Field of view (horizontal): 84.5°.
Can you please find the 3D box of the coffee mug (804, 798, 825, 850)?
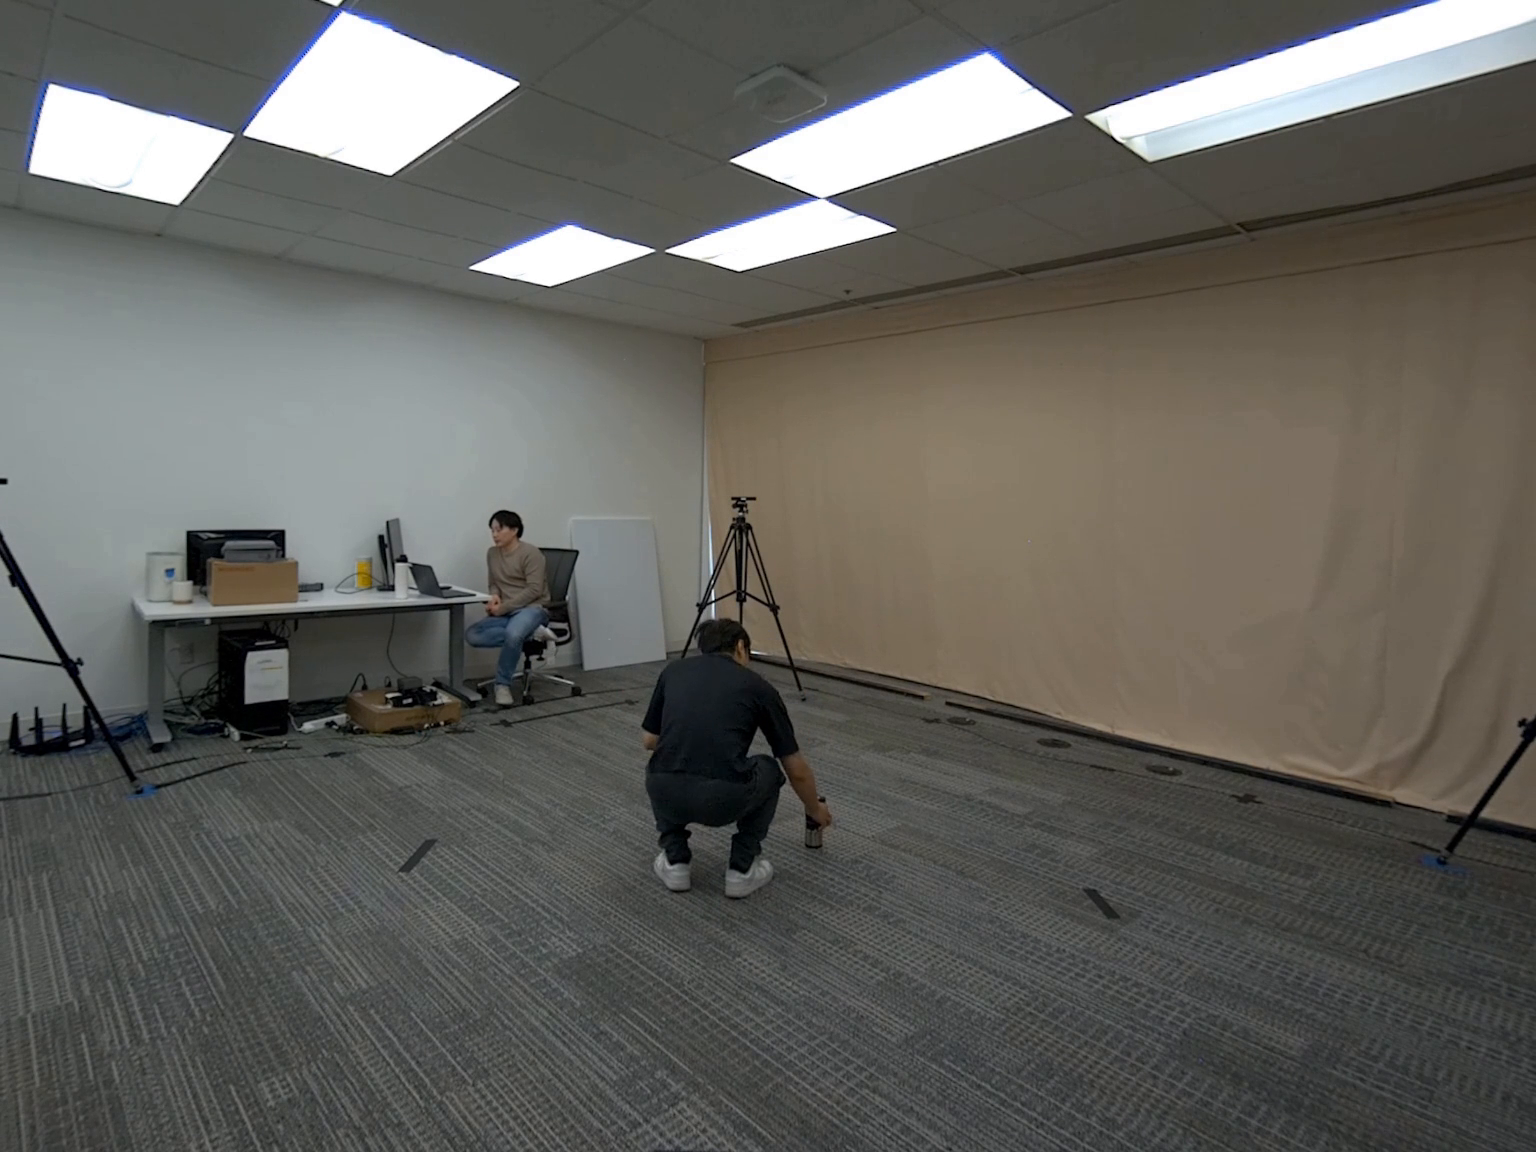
[{"bbox_3d":[0.162,0.990,3.385,0.119,0.203,0.090,6,1,-39],"label":"coffee mug"}]
